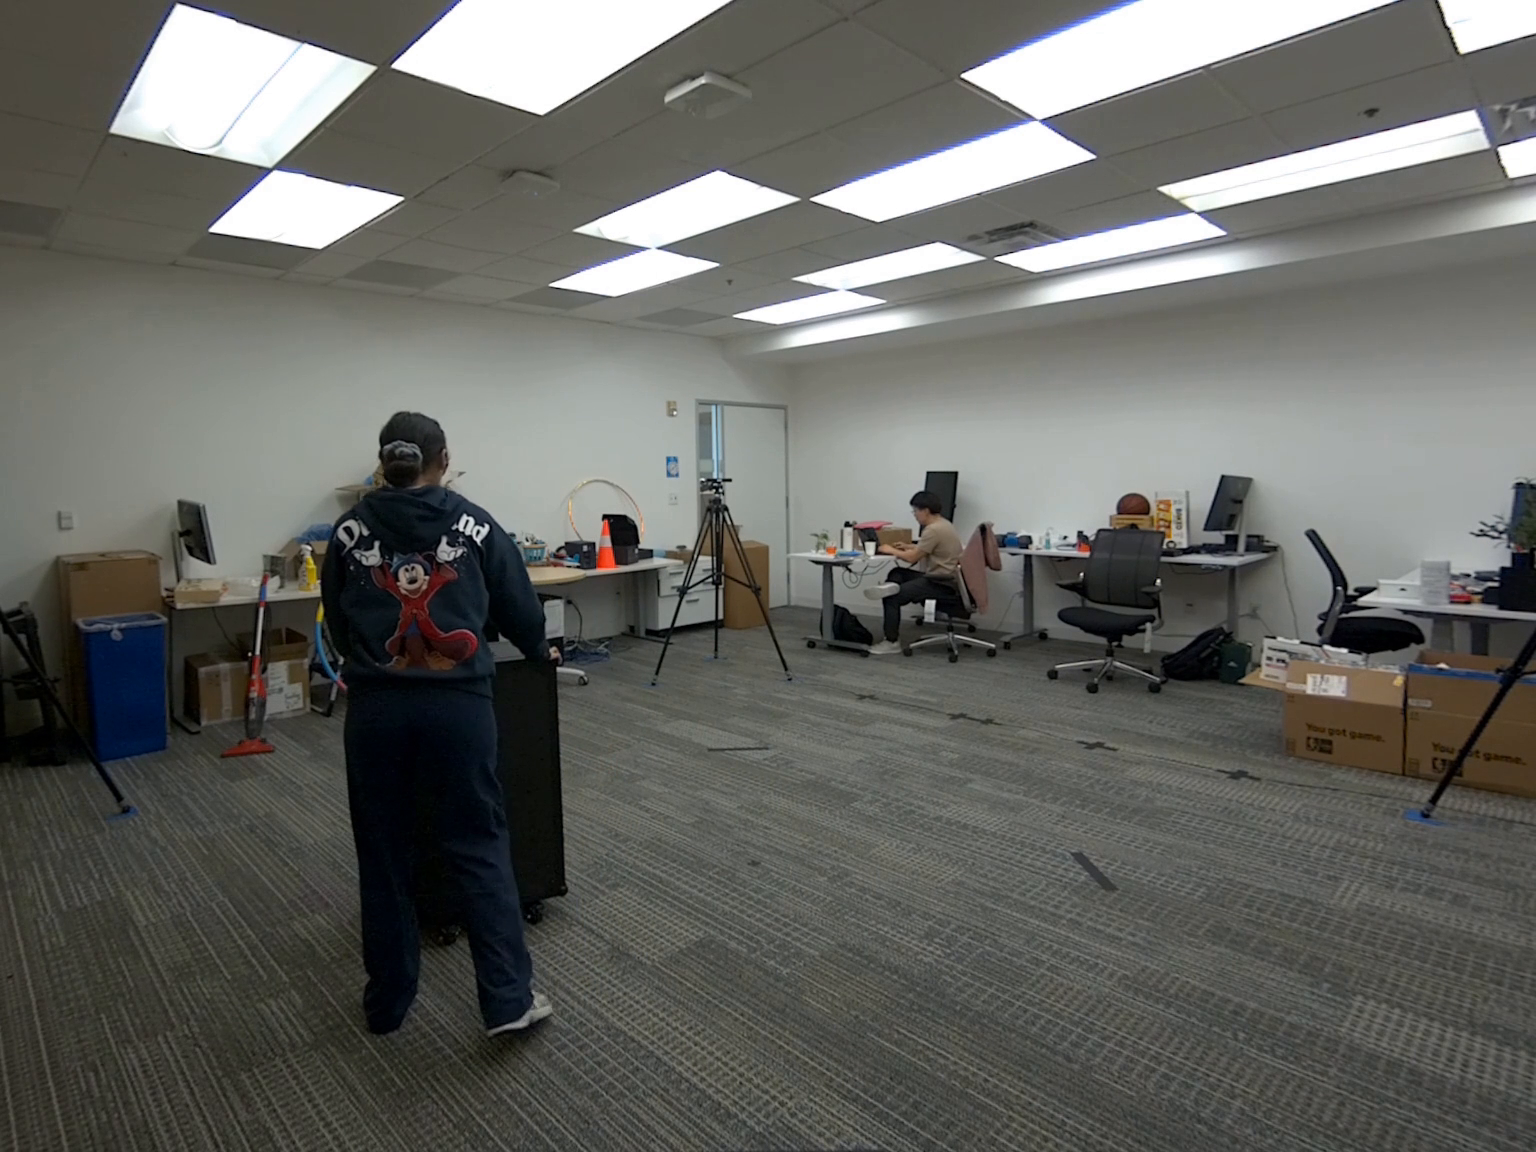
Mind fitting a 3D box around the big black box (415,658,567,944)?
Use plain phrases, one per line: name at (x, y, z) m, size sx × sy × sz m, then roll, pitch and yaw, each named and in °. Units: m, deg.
big black box at (-0.957, 0.675, 2.792) m, size 0.510 × 0.859 × 0.406 m, roll -4°, pitch 3°, yaw -27°
